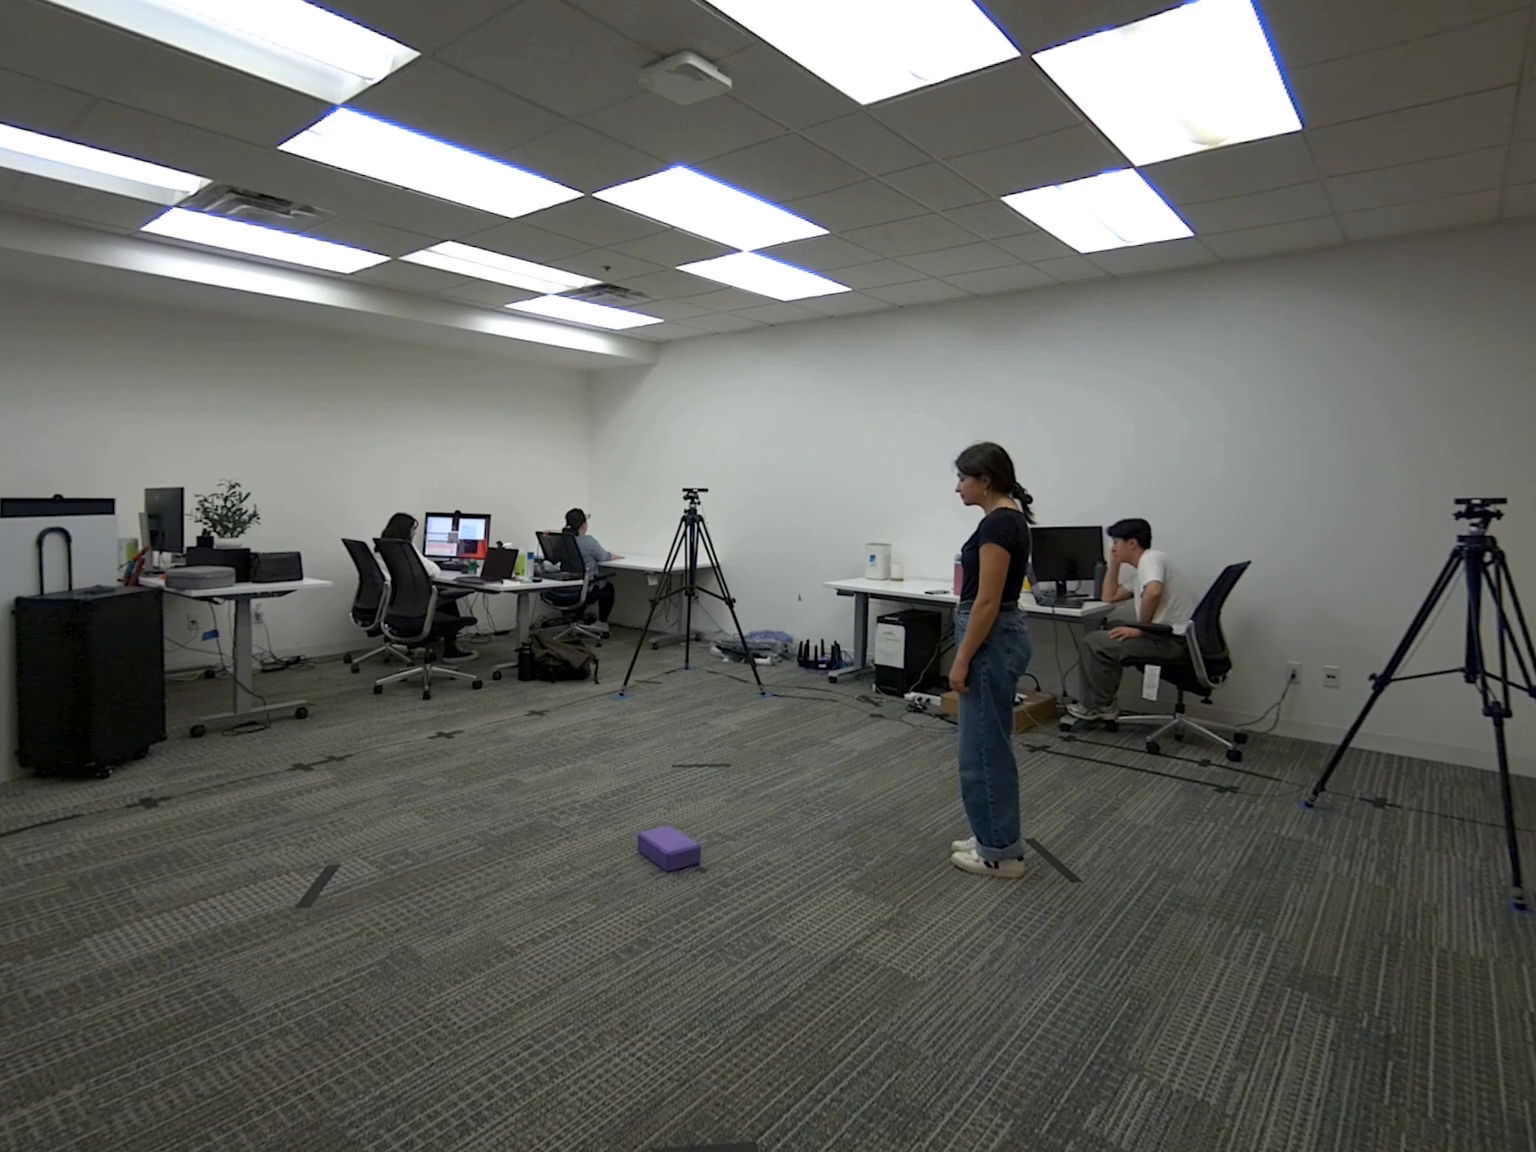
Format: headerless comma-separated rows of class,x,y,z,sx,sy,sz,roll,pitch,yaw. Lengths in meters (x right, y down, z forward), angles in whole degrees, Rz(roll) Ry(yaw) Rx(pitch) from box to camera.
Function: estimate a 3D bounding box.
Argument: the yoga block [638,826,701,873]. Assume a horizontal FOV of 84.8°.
yoga block,-0.376,1.015,3.206,0.145,0.076,0.237,-3,6,-36
